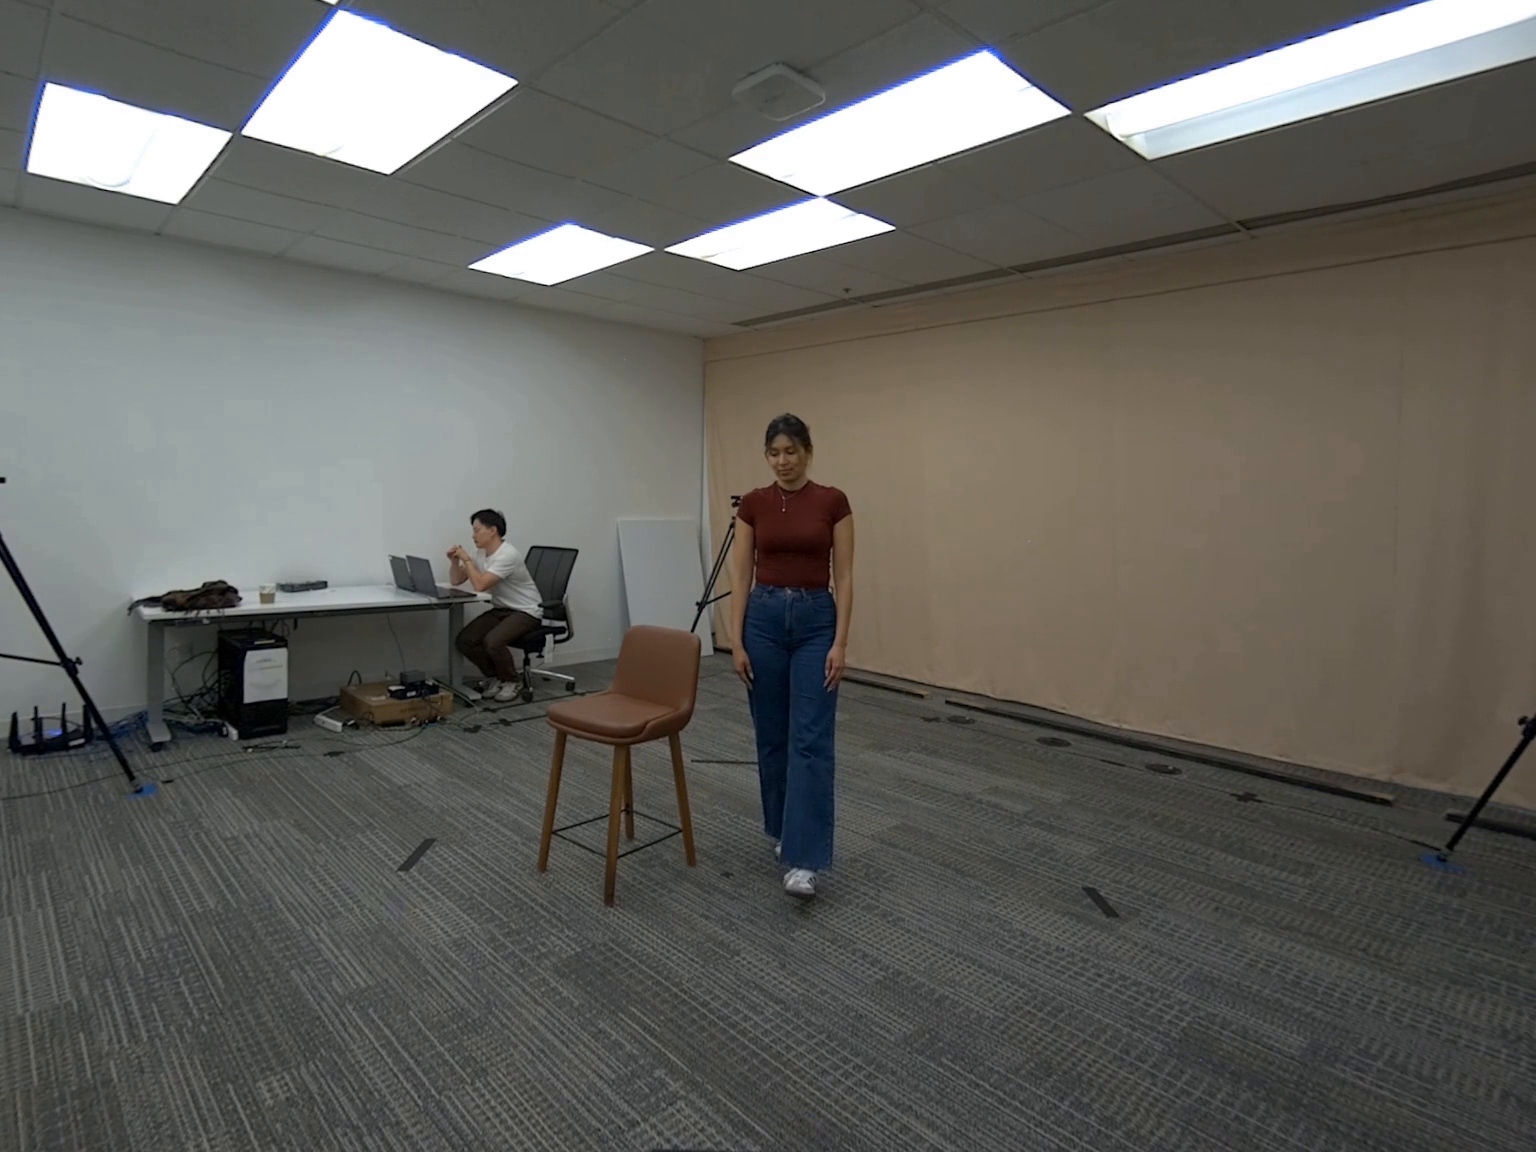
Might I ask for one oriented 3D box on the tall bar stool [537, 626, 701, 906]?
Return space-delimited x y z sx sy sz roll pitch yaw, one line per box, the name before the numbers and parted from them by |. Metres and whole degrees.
tall bar stool | -0.545 0.659 3.111 0.468 0.888 0.456 4 3 40
